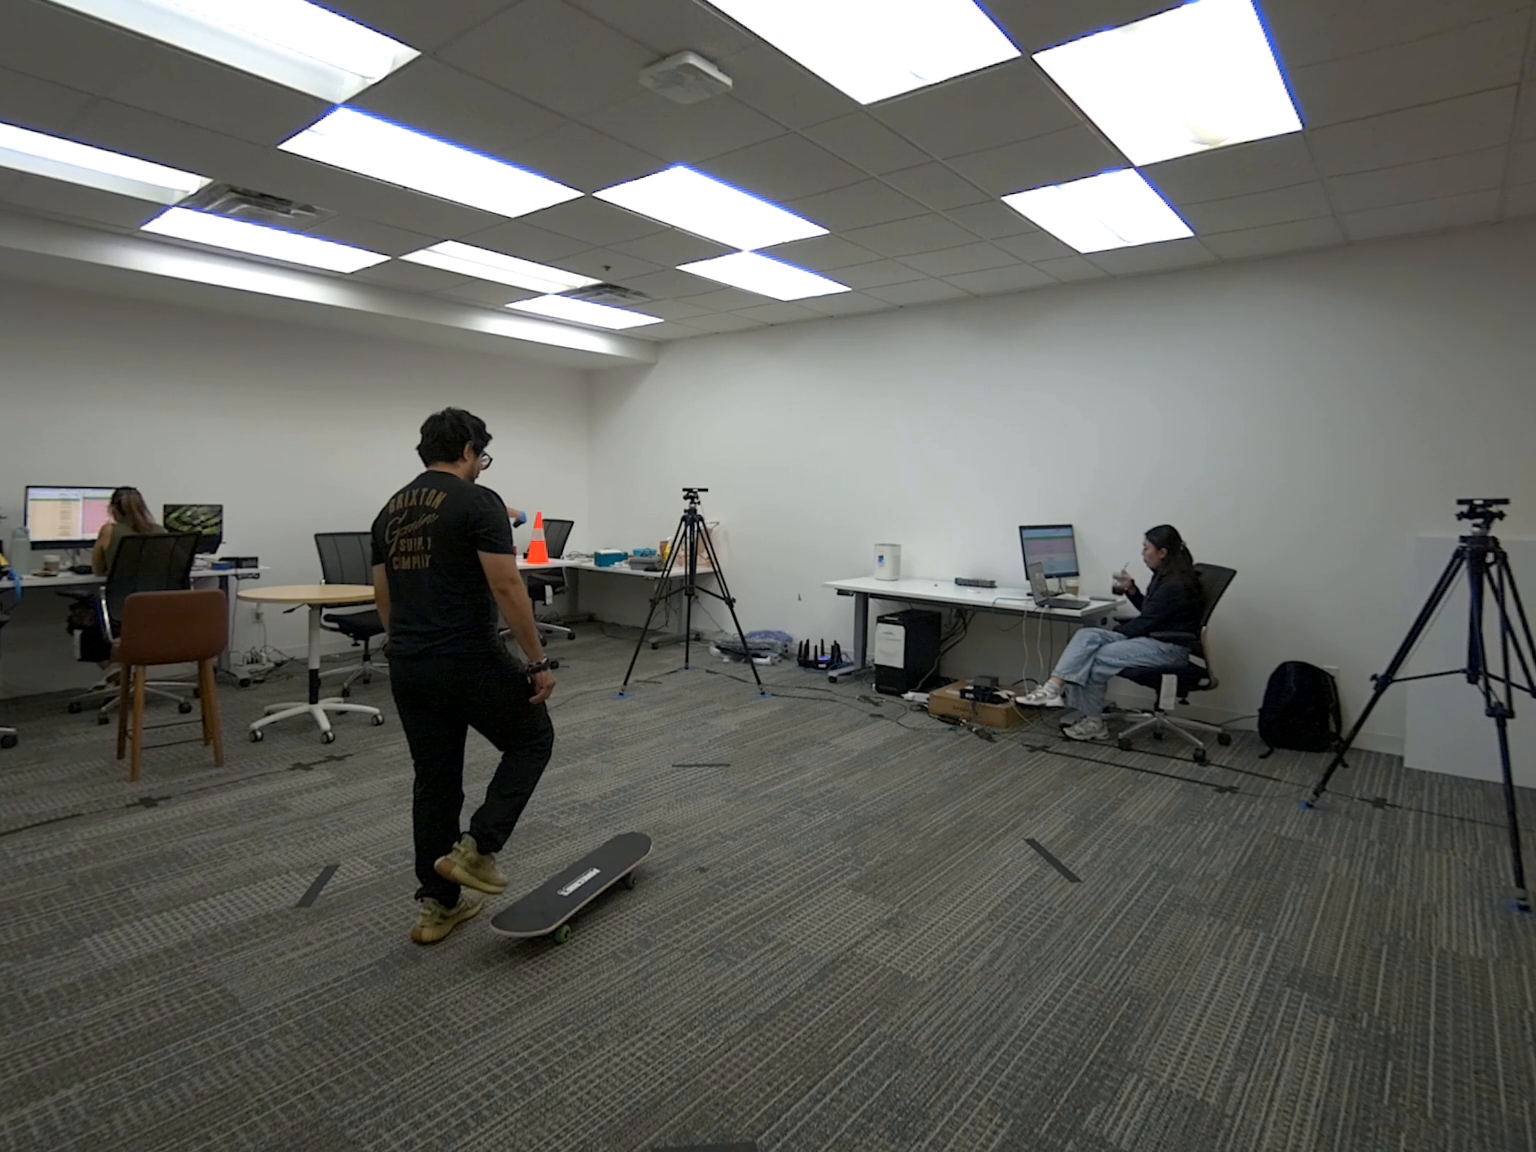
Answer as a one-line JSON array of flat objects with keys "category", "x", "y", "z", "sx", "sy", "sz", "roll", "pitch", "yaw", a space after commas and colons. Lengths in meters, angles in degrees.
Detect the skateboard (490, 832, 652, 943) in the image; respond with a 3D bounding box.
[{"category": "skateboard", "x": -0.629, "y": 1.035, "z": 2.810, "sx": 0.198, "sy": 0.110, "sz": 0.769, "roll": 2, "pitch": 6, "yaw": 22}]
